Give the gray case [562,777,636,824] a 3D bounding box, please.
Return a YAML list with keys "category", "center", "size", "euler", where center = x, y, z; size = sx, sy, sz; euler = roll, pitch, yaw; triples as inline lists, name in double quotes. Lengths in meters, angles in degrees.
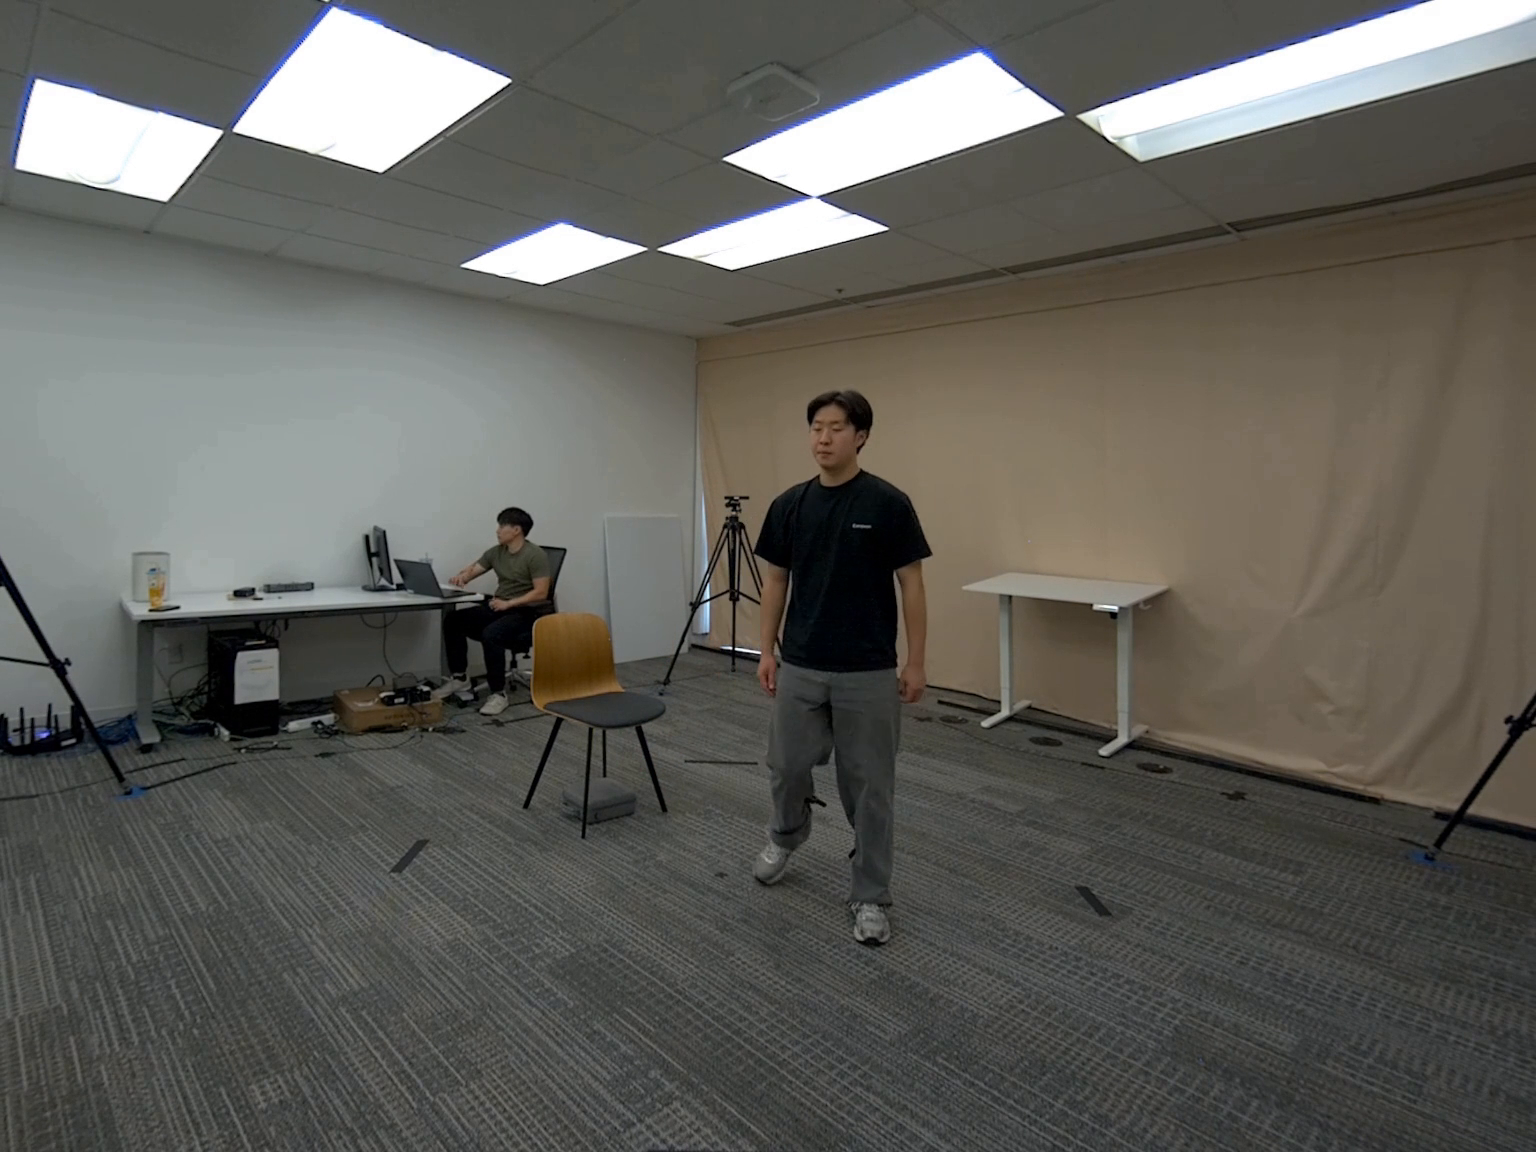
- category: "gray case"
  center: [-0.765, 0.985, 3.693]
  size: [0.281, 0.103, 0.270]
  euler: [-3, 7, -39]
